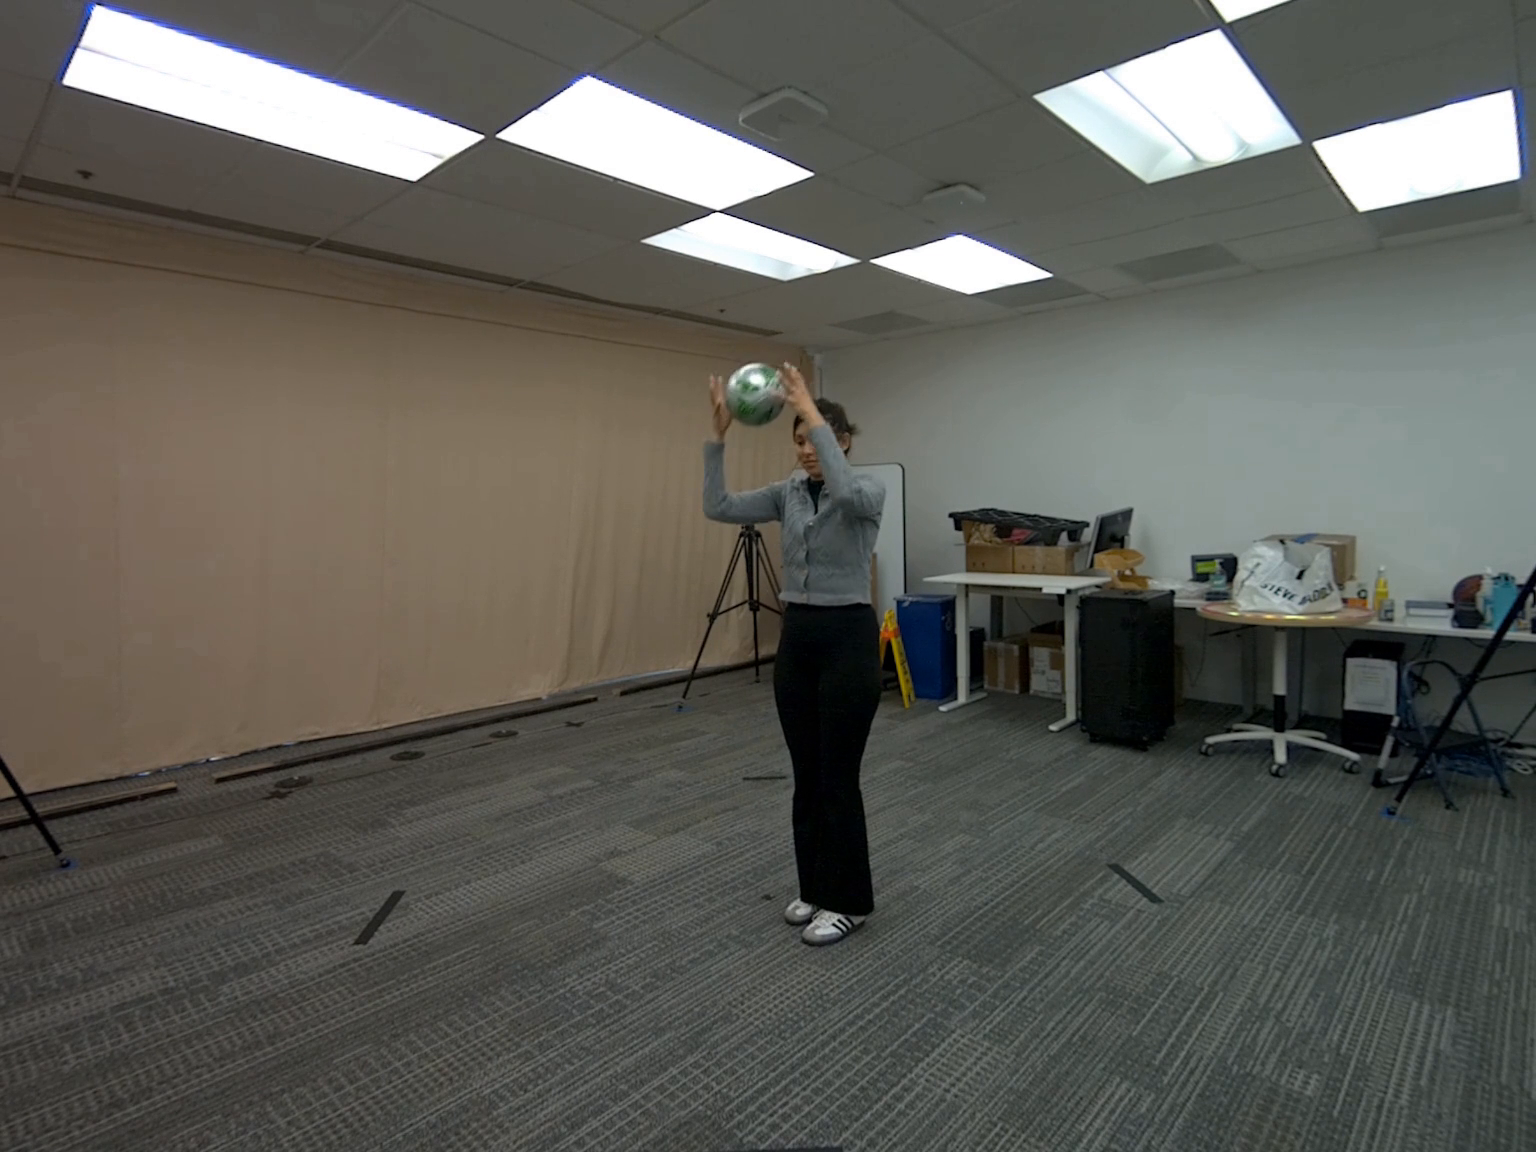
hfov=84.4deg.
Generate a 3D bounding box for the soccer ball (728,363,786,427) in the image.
[{"bbox_3d":[0.002,-0.542,2.571,0.187,0.187,0.188,-1,4,-2],"label":"soccer ball"}]
